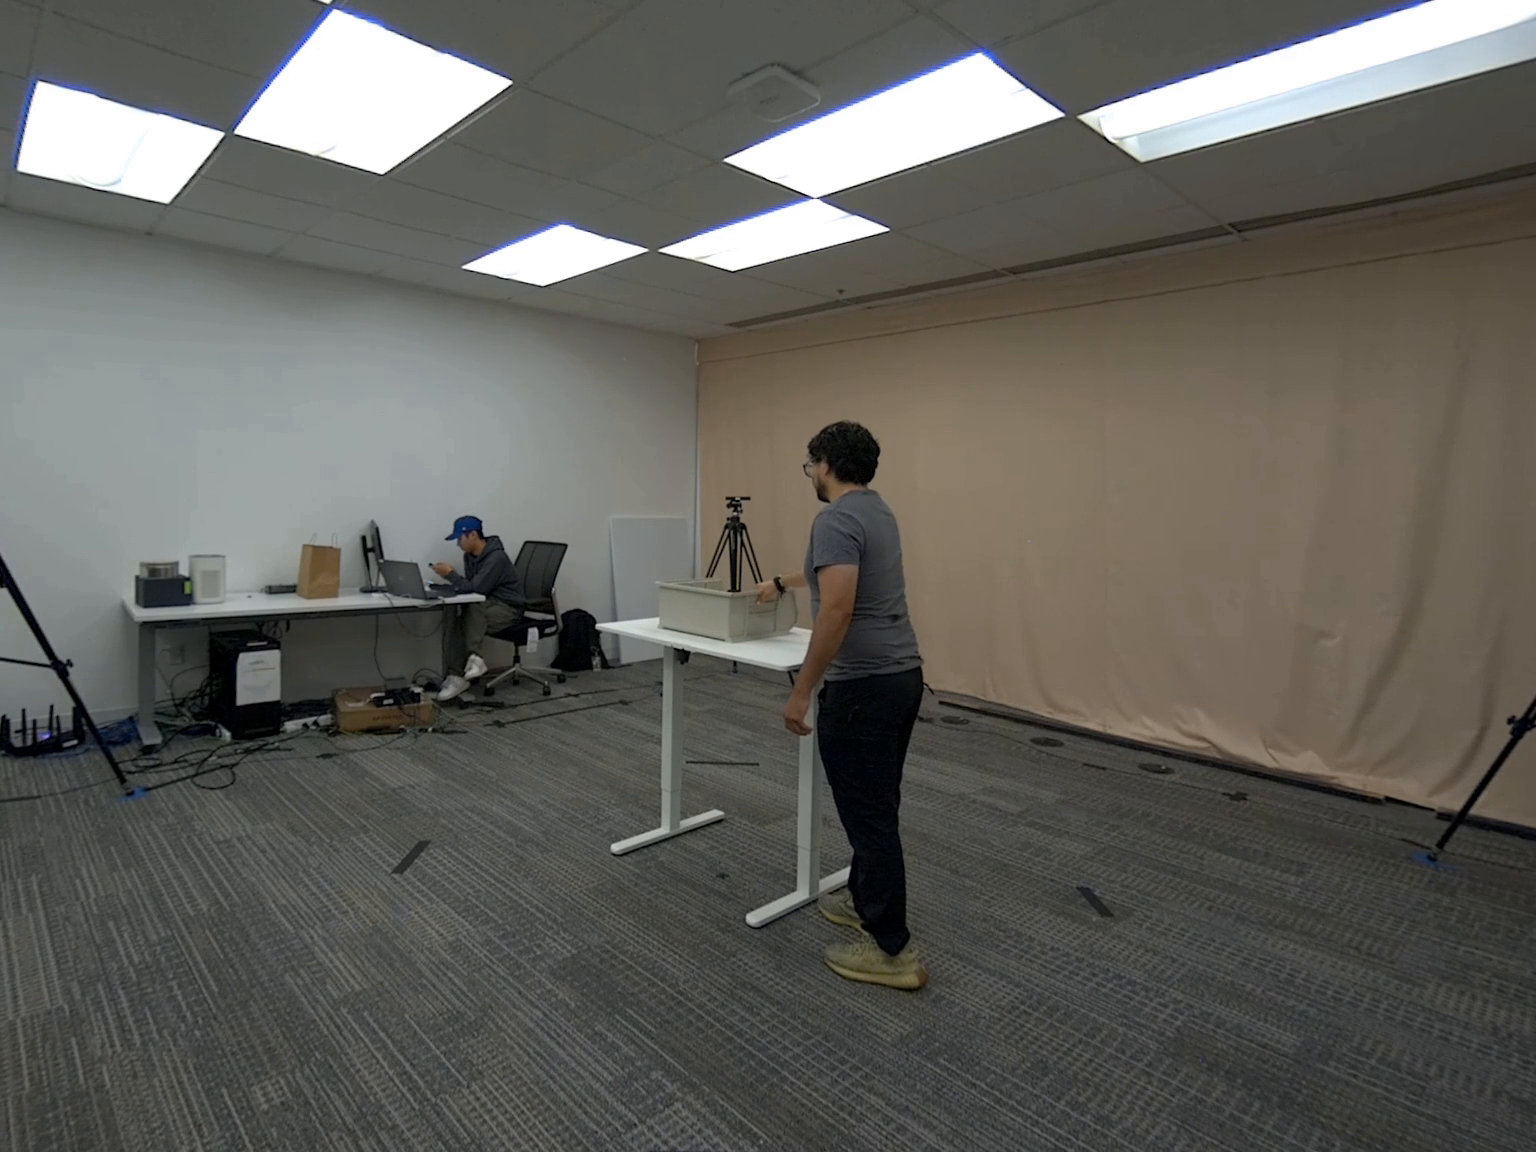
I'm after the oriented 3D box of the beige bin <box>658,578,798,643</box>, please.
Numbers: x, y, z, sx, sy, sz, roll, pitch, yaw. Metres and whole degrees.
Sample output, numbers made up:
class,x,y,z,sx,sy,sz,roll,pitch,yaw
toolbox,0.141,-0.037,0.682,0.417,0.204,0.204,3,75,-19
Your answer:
class,x,y,z,sx,sy,sz,roll,pitch,yaw
beige bin,-0.164,0.120,3.227,0.433,0.188,0.369,7,9,44
